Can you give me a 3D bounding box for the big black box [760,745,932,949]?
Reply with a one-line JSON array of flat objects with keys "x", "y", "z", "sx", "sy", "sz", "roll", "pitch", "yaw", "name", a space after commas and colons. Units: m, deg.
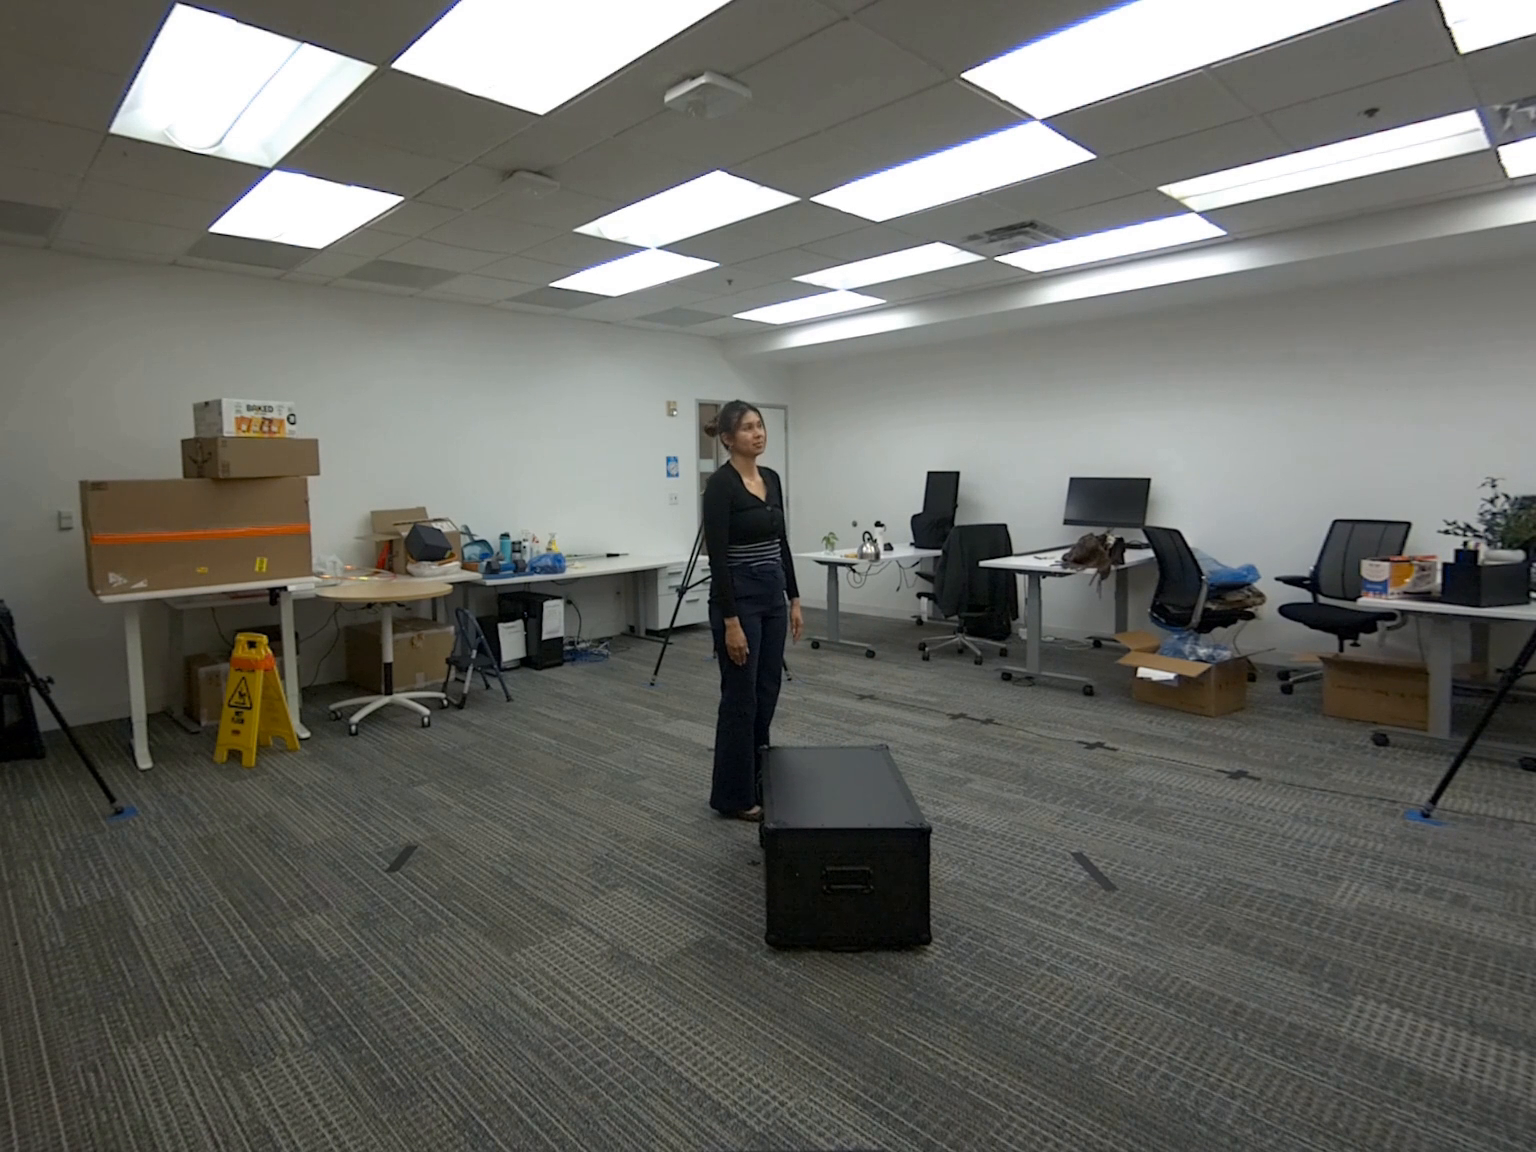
[{"x": 0.232, "y": 0.868, "z": 2.914, "sx": 0.521, "sy": 0.394, "sz": 0.865, "roll": -2, "pitch": 6, "yaw": -1, "name": "big black box"}]
